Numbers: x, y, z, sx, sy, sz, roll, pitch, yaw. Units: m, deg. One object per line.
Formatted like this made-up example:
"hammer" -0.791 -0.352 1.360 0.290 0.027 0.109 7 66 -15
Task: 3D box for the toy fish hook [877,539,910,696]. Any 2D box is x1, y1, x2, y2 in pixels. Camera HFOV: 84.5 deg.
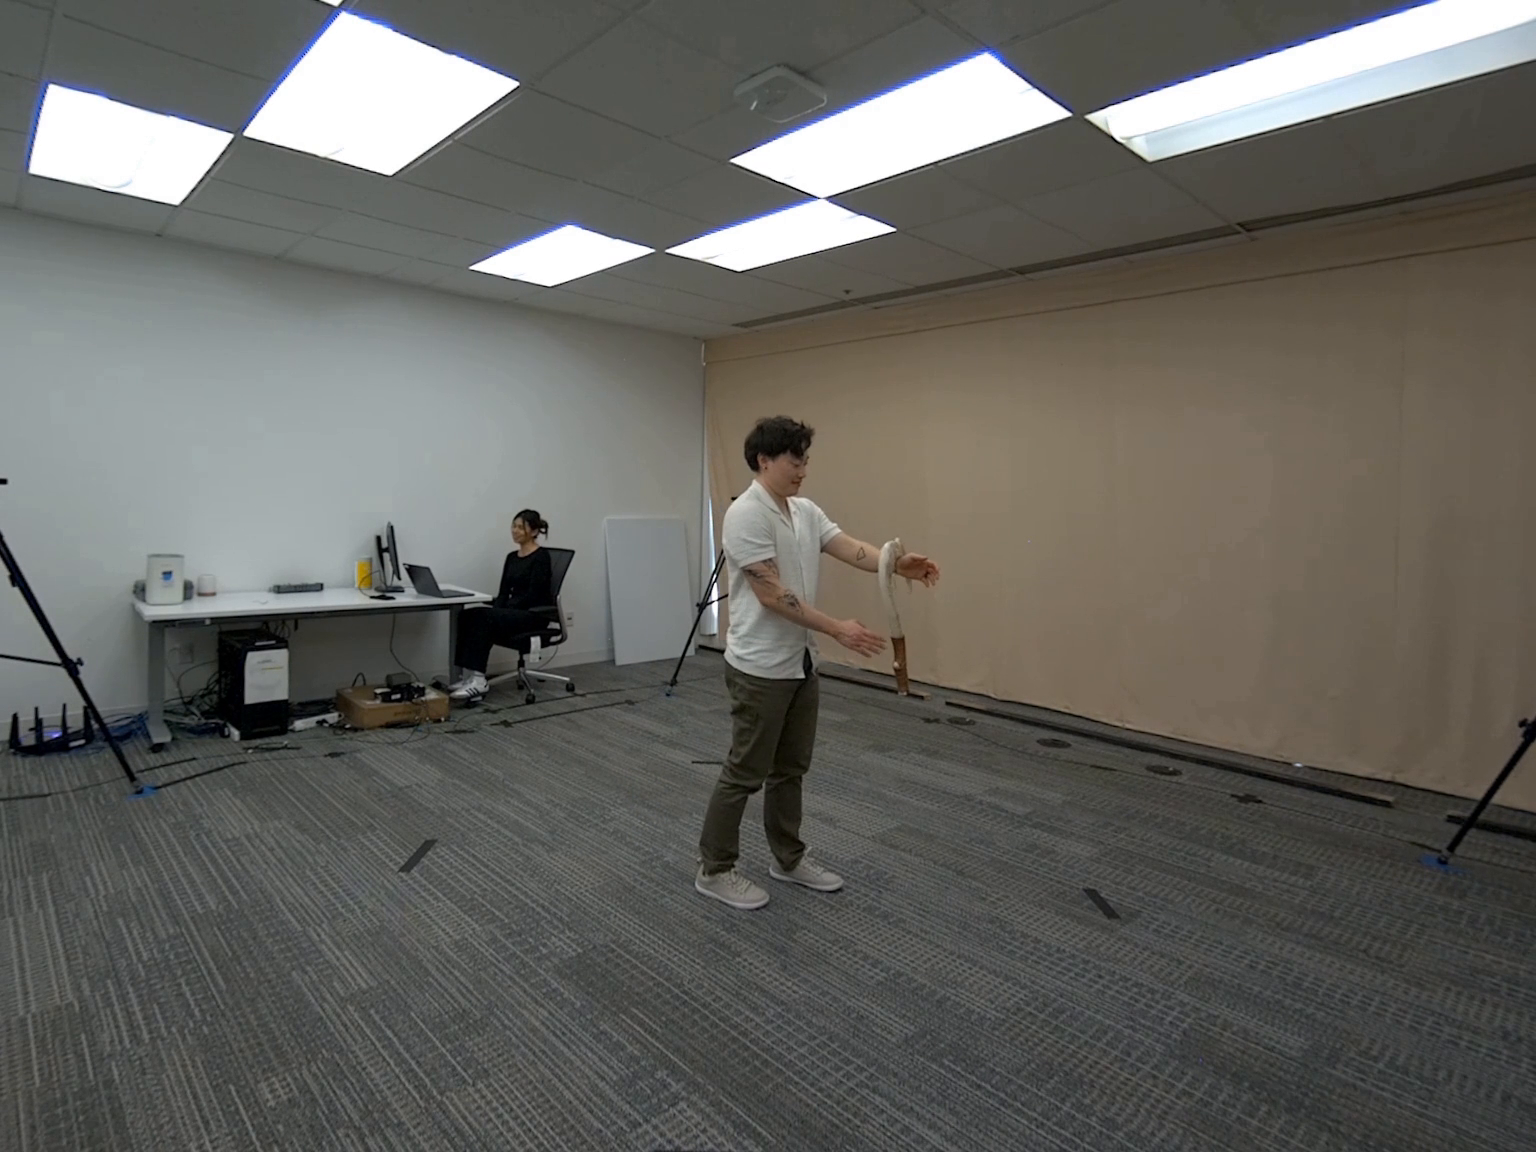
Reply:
"toy fish hook" 0.432 0.135 2.769 0.049 0.504 0.221 -3 7 38
